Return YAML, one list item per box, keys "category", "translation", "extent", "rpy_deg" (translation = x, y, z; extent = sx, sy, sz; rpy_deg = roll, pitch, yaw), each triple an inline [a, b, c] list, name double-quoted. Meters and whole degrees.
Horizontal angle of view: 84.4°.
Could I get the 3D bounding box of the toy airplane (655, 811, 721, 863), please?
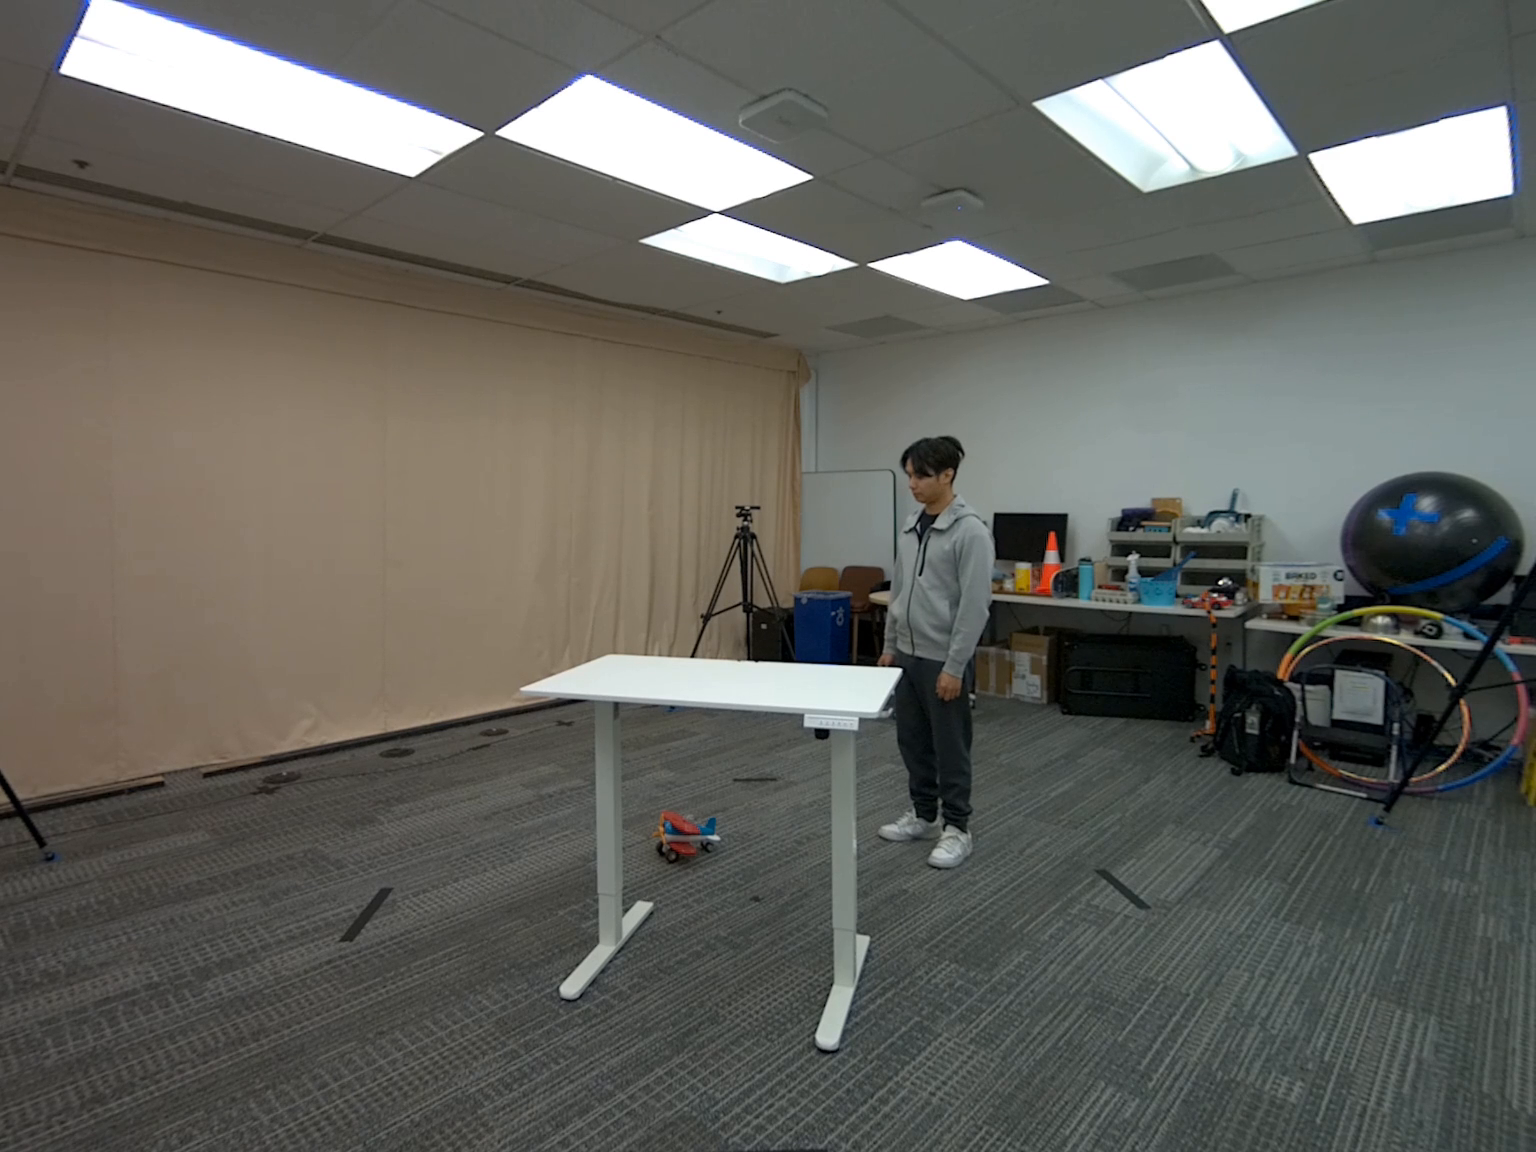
- category: "toy airplane"
  translation: [-0.338, 1.041, 3.383]
  extent: [0.259, 0.156, 0.252]
  rpy_deg: [1, 7, 33]
